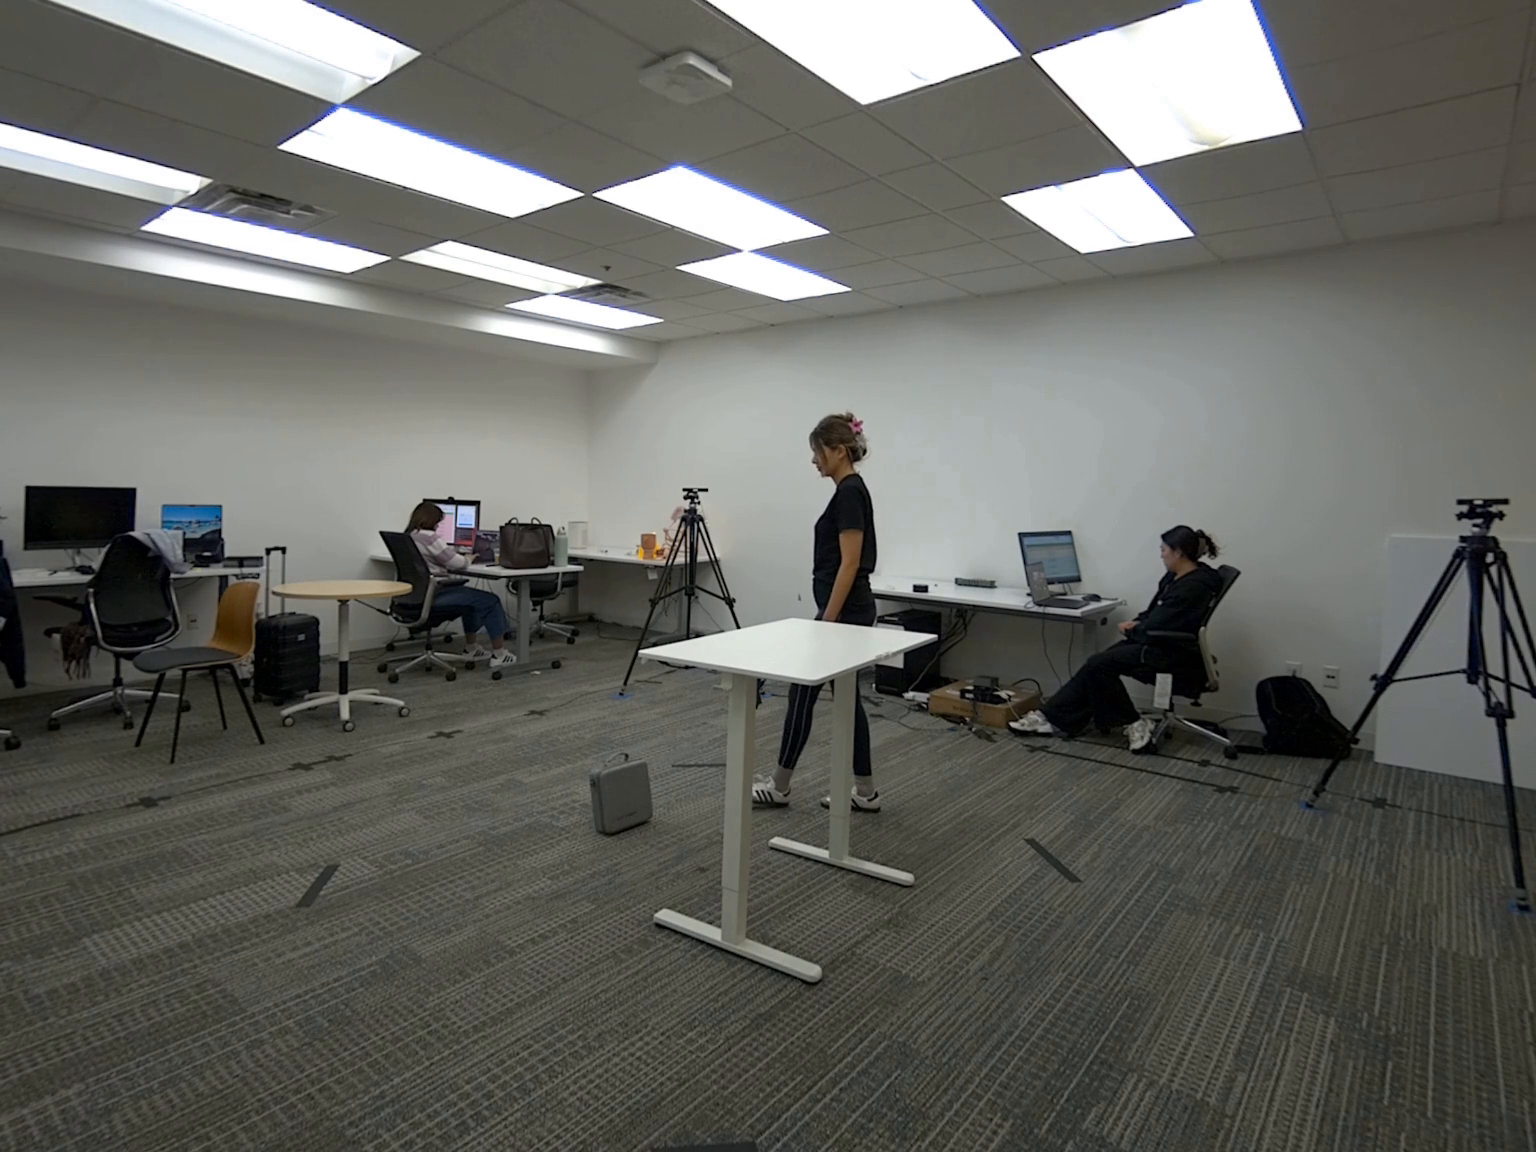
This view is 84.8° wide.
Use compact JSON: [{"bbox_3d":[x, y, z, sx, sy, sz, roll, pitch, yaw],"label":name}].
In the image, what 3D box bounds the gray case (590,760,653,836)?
[{"bbox_3d":[-0.616,0.894,3.500,0.107,0.262,0.249,-11,-5,43],"label":"gray case"}]
